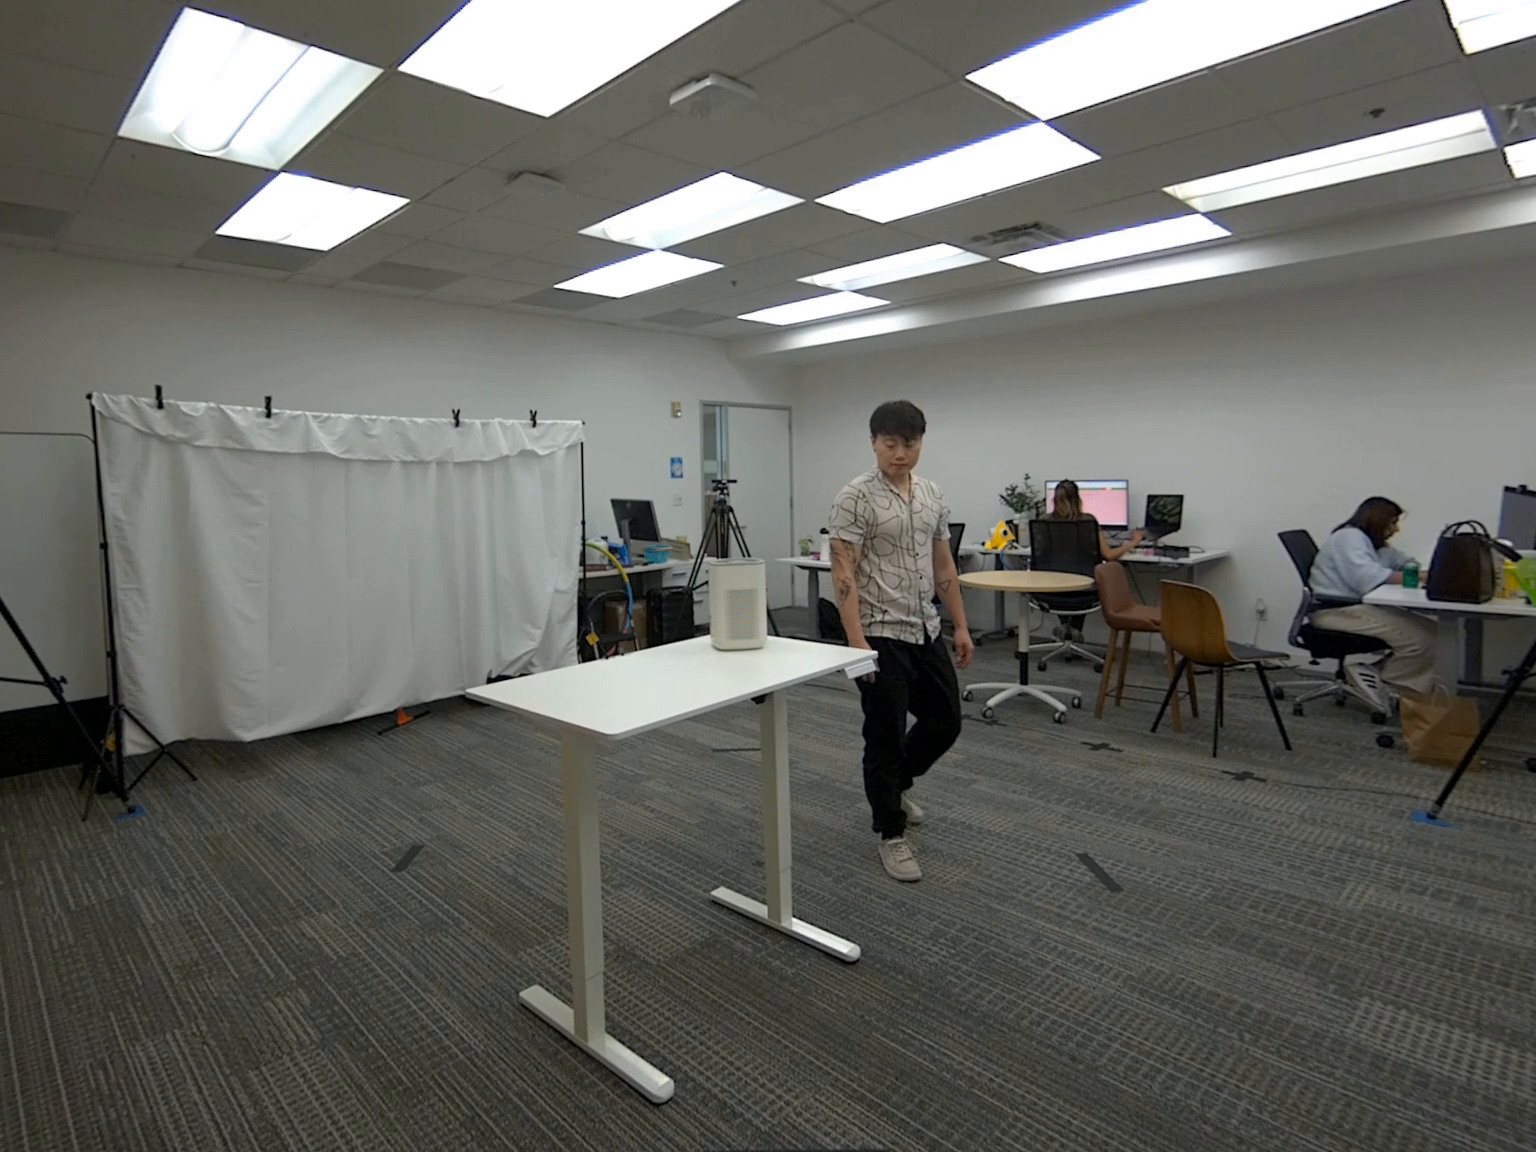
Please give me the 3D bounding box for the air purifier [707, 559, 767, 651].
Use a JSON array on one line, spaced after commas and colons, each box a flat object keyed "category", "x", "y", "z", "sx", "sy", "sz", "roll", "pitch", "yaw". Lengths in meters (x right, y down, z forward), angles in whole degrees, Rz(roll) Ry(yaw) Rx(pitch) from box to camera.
[{"category": "air purifier", "x": -0.088, "y": 0.086, "z": 2.630, "sx": 0.171, "sy": 0.264, "sz": 0.172, "roll": -2, "pitch": 4, "yaw": -6}]
